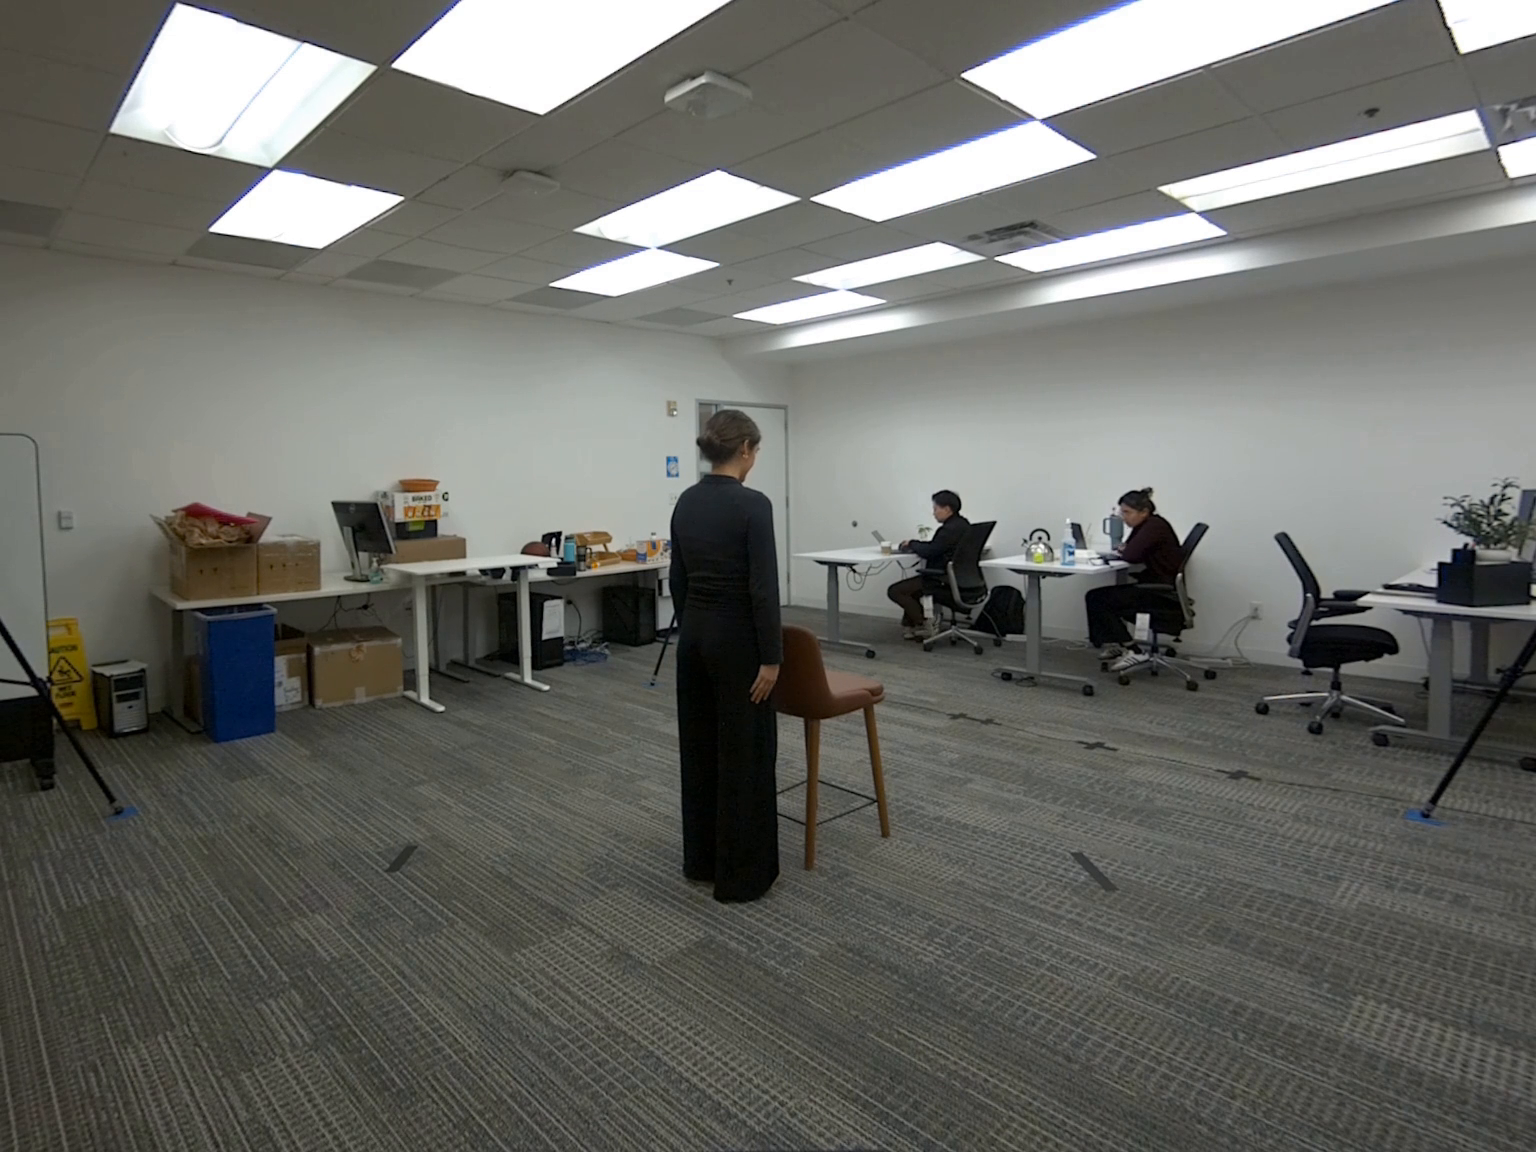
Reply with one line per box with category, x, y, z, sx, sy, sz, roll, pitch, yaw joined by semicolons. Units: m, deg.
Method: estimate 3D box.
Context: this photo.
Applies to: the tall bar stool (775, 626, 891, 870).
tall bar stool;0.164;0.583;3.293;0.456;0.885;0.470;-7;7;-42
